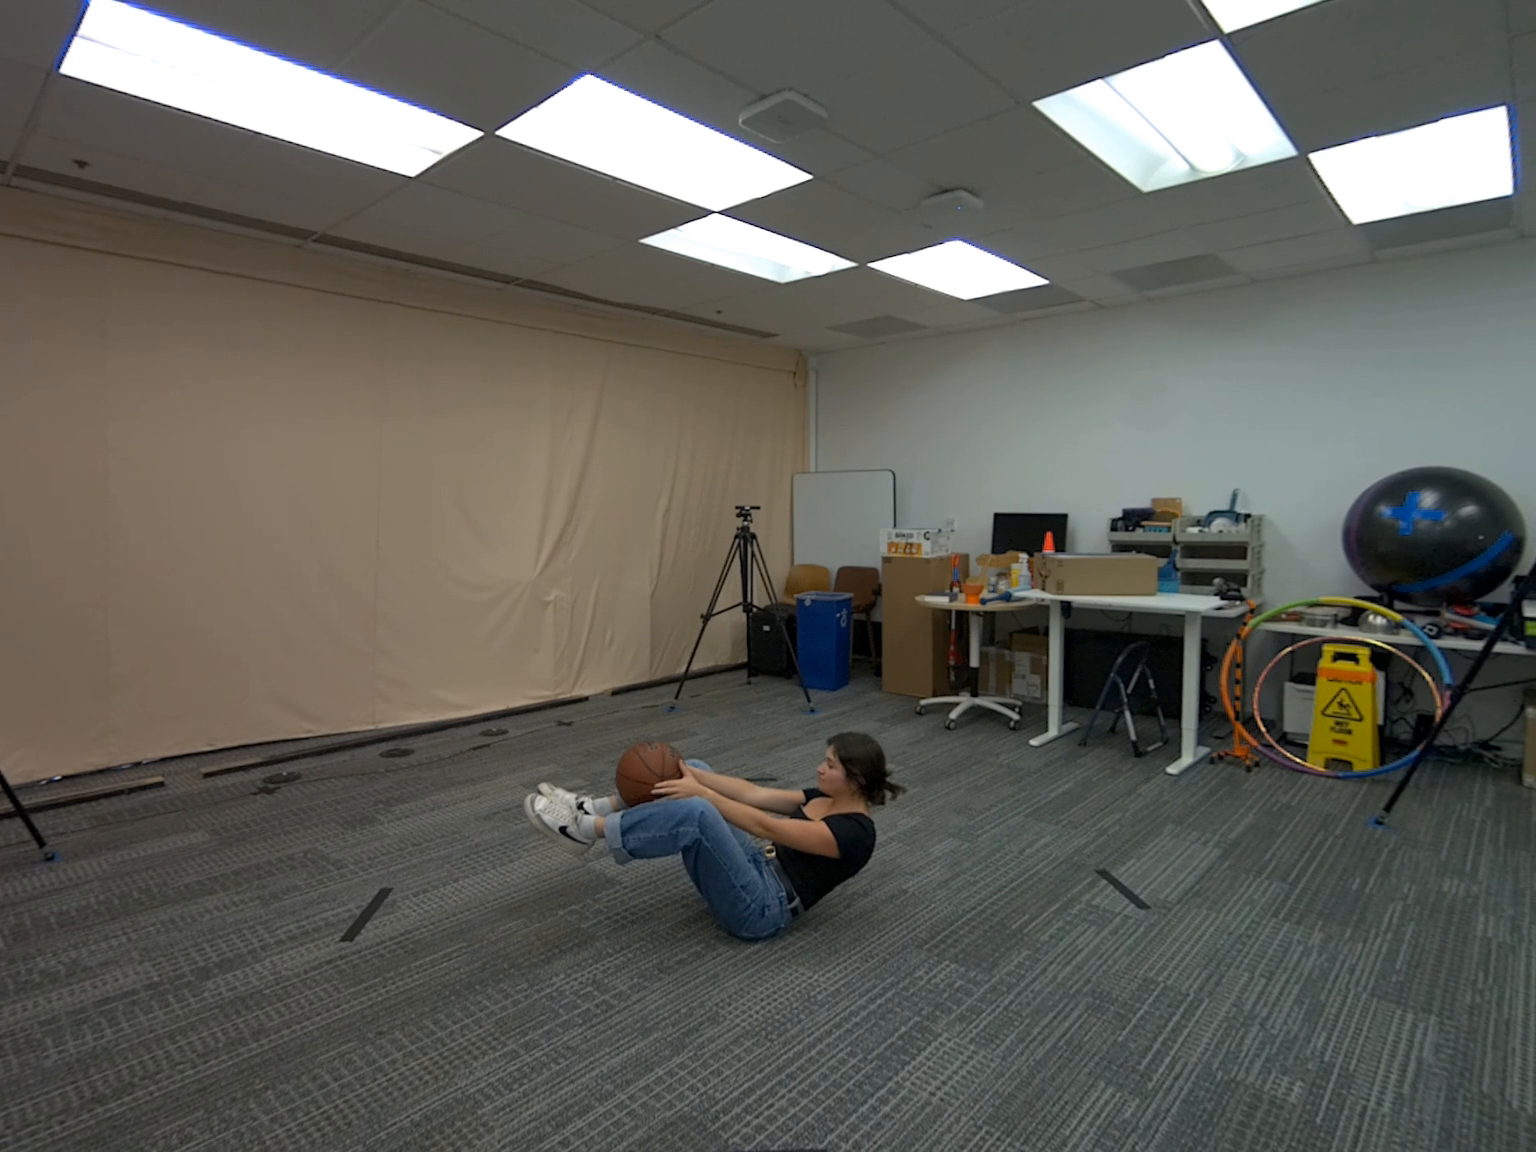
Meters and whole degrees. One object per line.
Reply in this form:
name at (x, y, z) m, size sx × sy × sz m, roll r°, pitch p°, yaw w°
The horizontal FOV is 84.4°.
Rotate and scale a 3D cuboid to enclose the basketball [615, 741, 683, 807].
basketball at (-0.376, 0.659, 2.798) m, size 0.236 × 0.235 × 0.237 m, roll 0°, pitch 4°, yaw -2°
